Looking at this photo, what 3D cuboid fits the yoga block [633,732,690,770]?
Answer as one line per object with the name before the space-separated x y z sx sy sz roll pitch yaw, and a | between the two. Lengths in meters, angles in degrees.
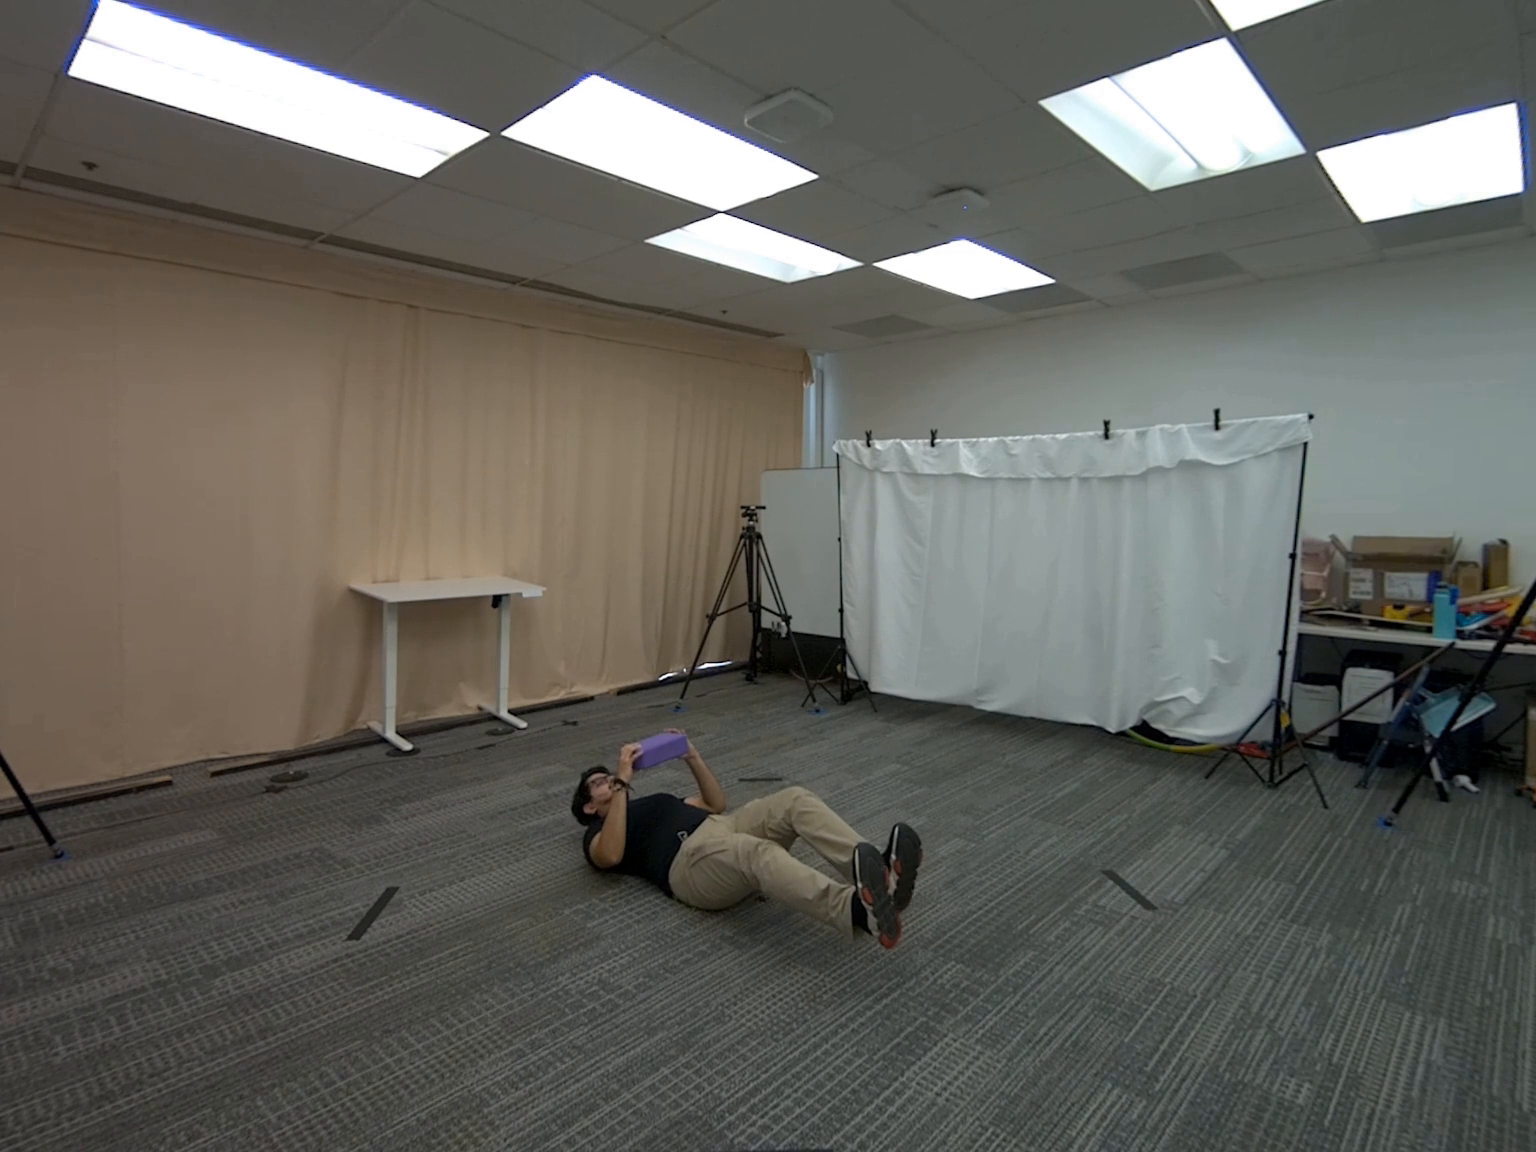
yoga block | -0.431 0.673 3.212 0.153 0.076 0.223 -7 3 39
